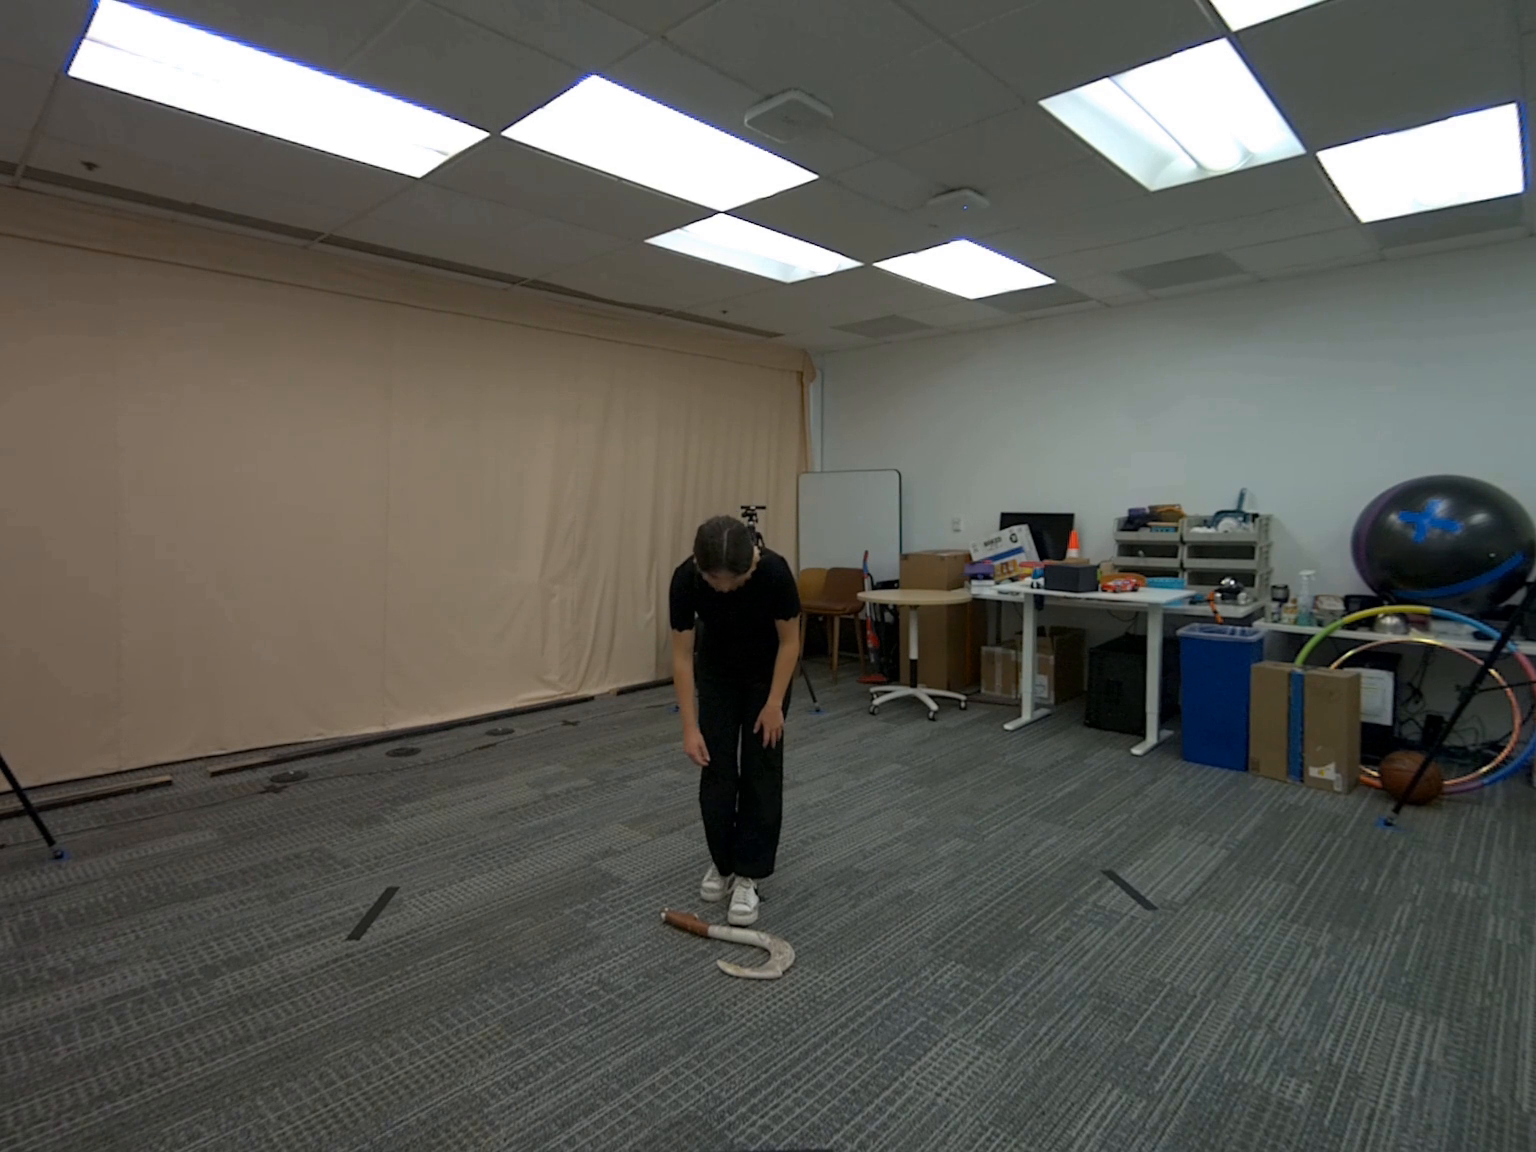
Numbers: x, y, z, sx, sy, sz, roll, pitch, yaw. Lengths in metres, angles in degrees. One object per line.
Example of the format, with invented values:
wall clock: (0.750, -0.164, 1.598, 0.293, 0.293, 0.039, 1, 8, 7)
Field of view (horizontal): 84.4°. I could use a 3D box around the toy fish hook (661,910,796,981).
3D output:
toy fish hook: (-0.163, 1.146, 2.645, 0.521, 0.048, 0.218, 2, 3, 31)
